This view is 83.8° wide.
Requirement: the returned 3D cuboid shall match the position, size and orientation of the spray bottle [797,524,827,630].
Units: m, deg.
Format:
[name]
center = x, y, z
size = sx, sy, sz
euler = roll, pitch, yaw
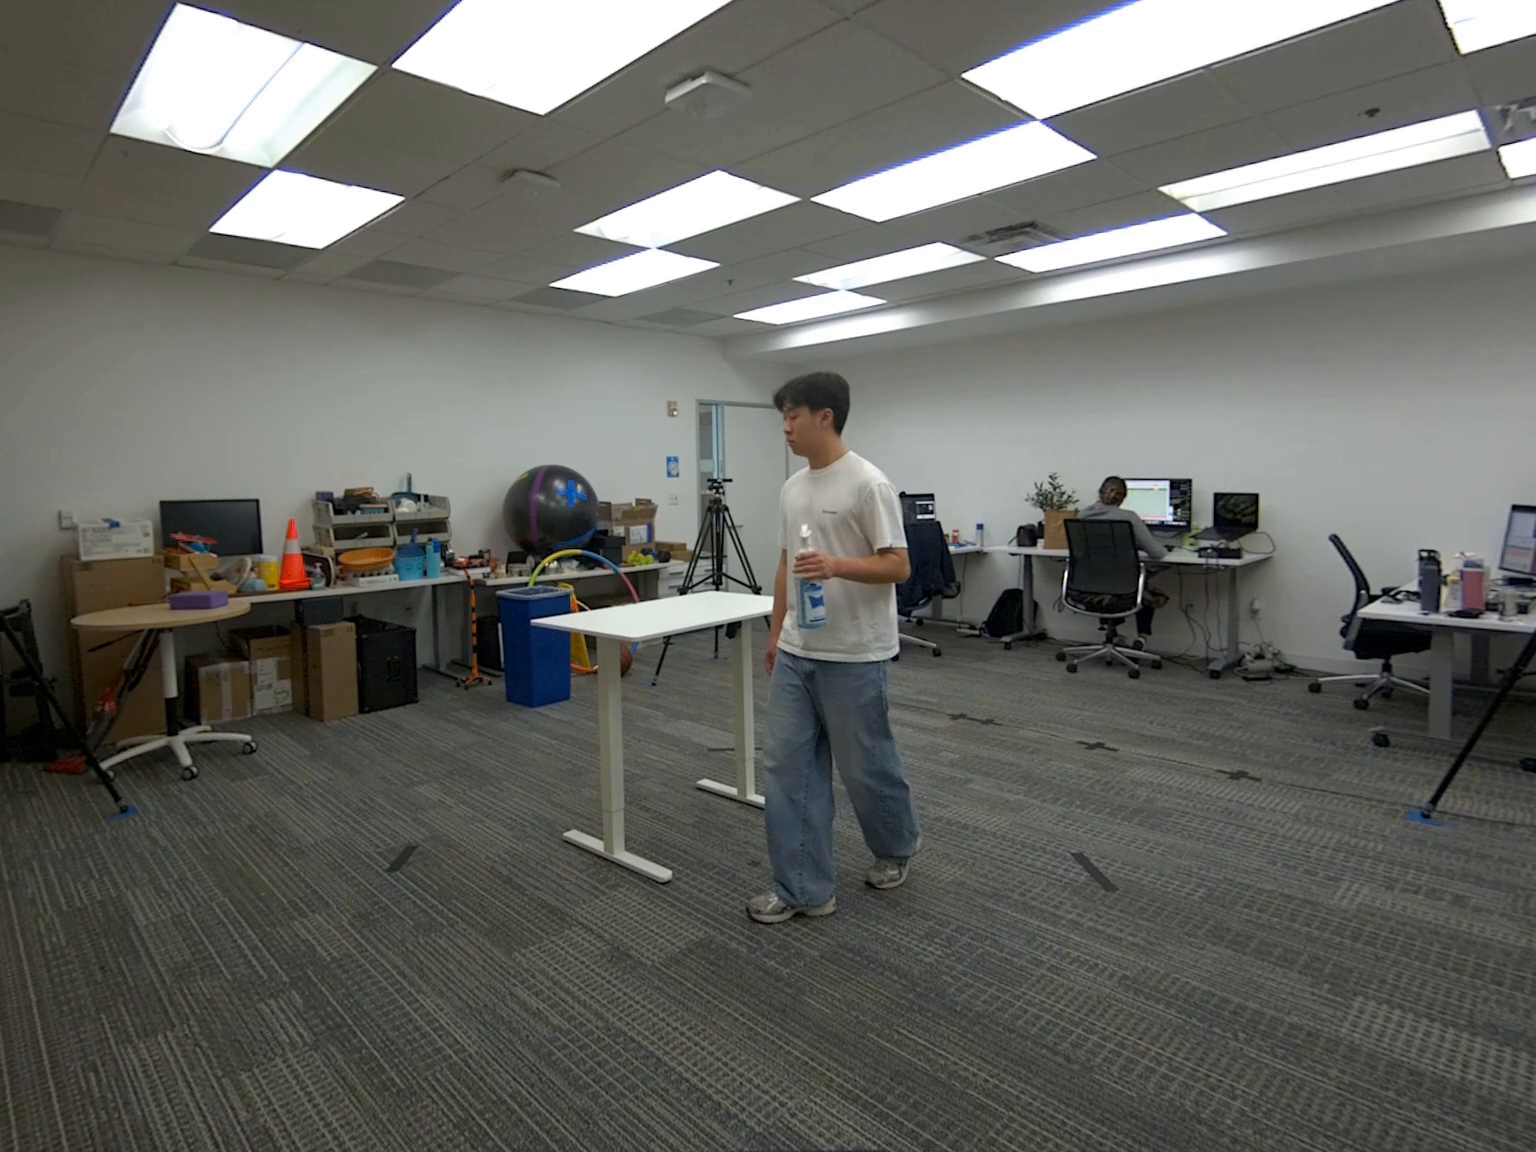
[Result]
[spray bottle]
center = 0.124, 0.001, 2.489
size = 0.089, 0.297, 0.088
euler = -2, 3, 30
